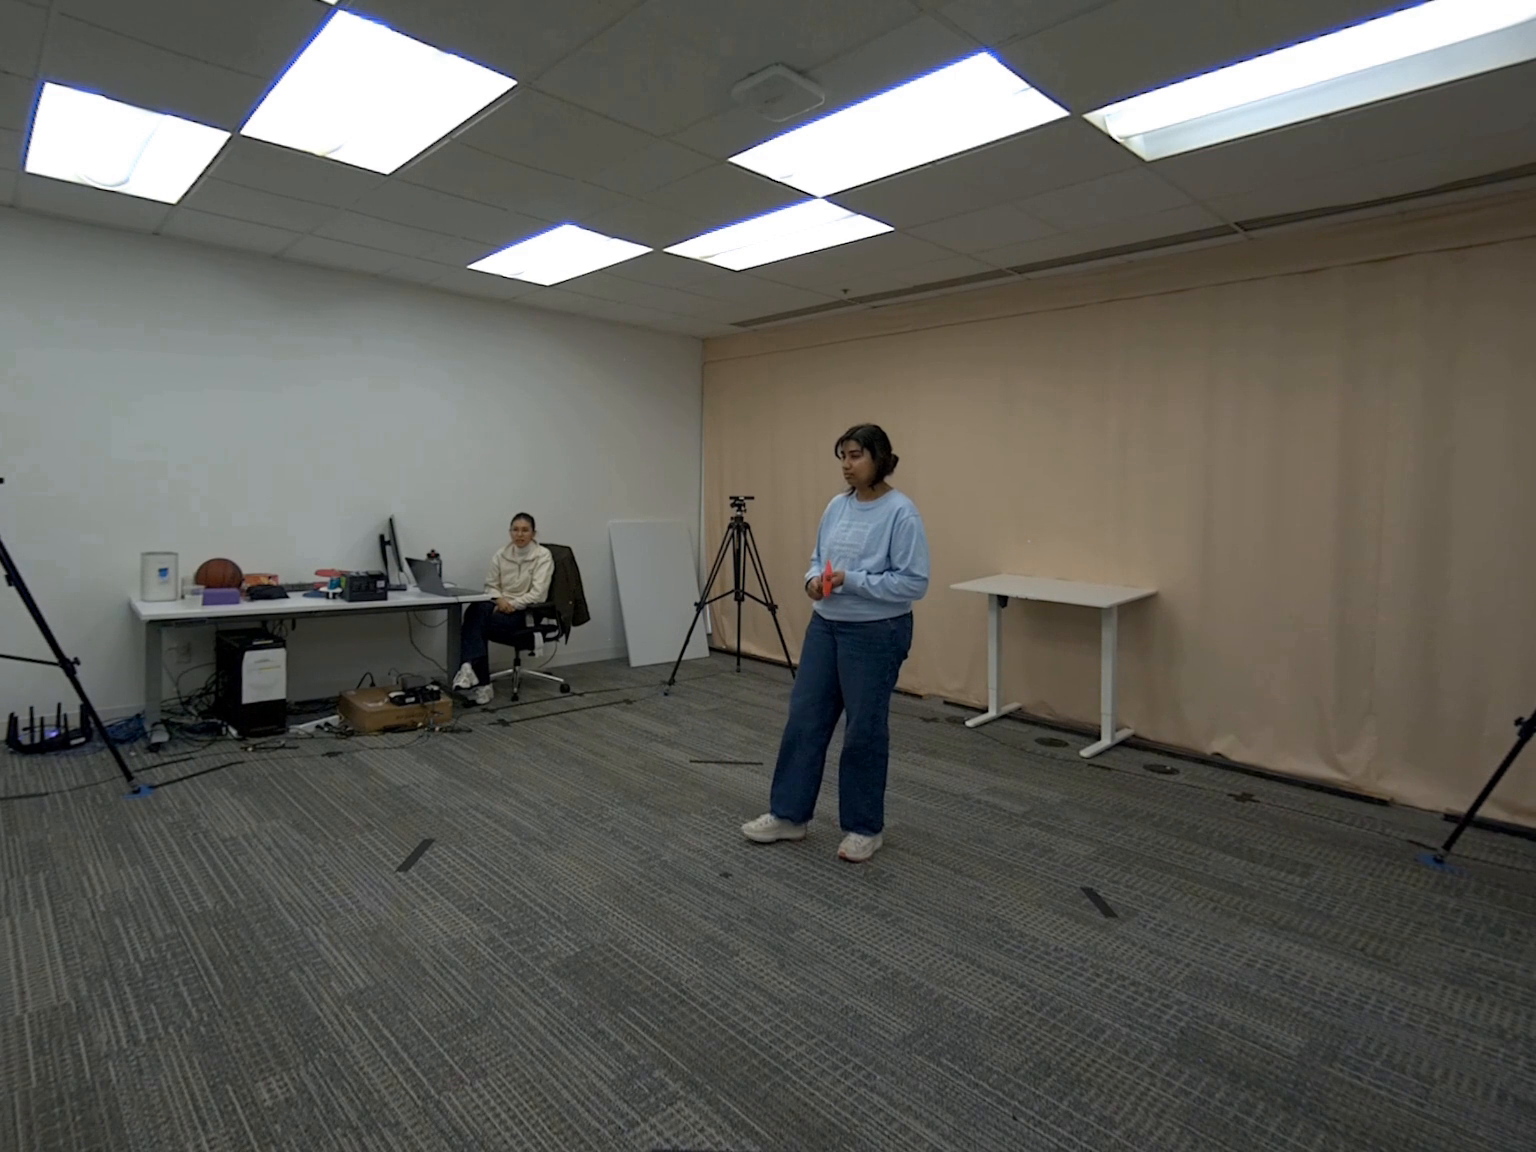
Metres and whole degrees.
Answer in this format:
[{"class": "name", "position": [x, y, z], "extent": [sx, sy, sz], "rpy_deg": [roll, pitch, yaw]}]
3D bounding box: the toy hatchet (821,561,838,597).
[{"class": "toy hatchet", "position": [0.213, 0.046, 3.128], "extent": [0.030, 0.133, 0.264], "rpy_deg": [0, -24, 9]}]
